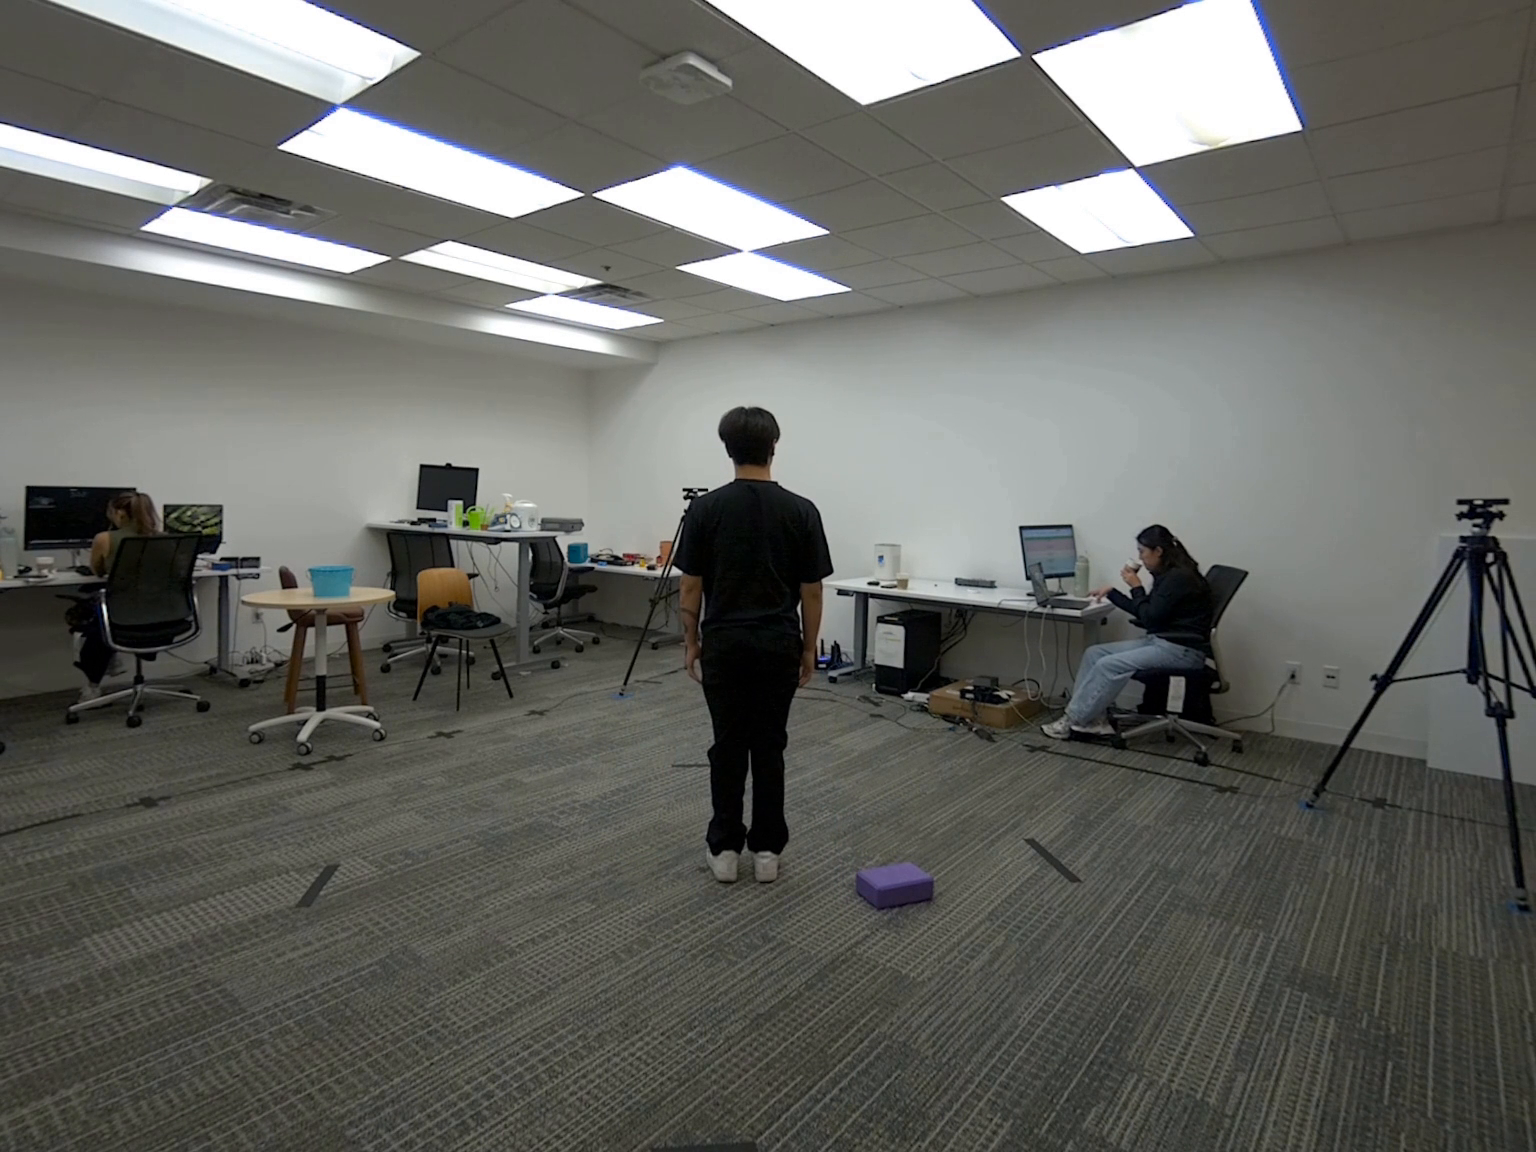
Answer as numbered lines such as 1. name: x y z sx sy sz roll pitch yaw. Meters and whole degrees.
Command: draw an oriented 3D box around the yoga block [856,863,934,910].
1. yoga block: 0.431 1.062 2.939 0.224 0.076 0.153 -2 6 -23
